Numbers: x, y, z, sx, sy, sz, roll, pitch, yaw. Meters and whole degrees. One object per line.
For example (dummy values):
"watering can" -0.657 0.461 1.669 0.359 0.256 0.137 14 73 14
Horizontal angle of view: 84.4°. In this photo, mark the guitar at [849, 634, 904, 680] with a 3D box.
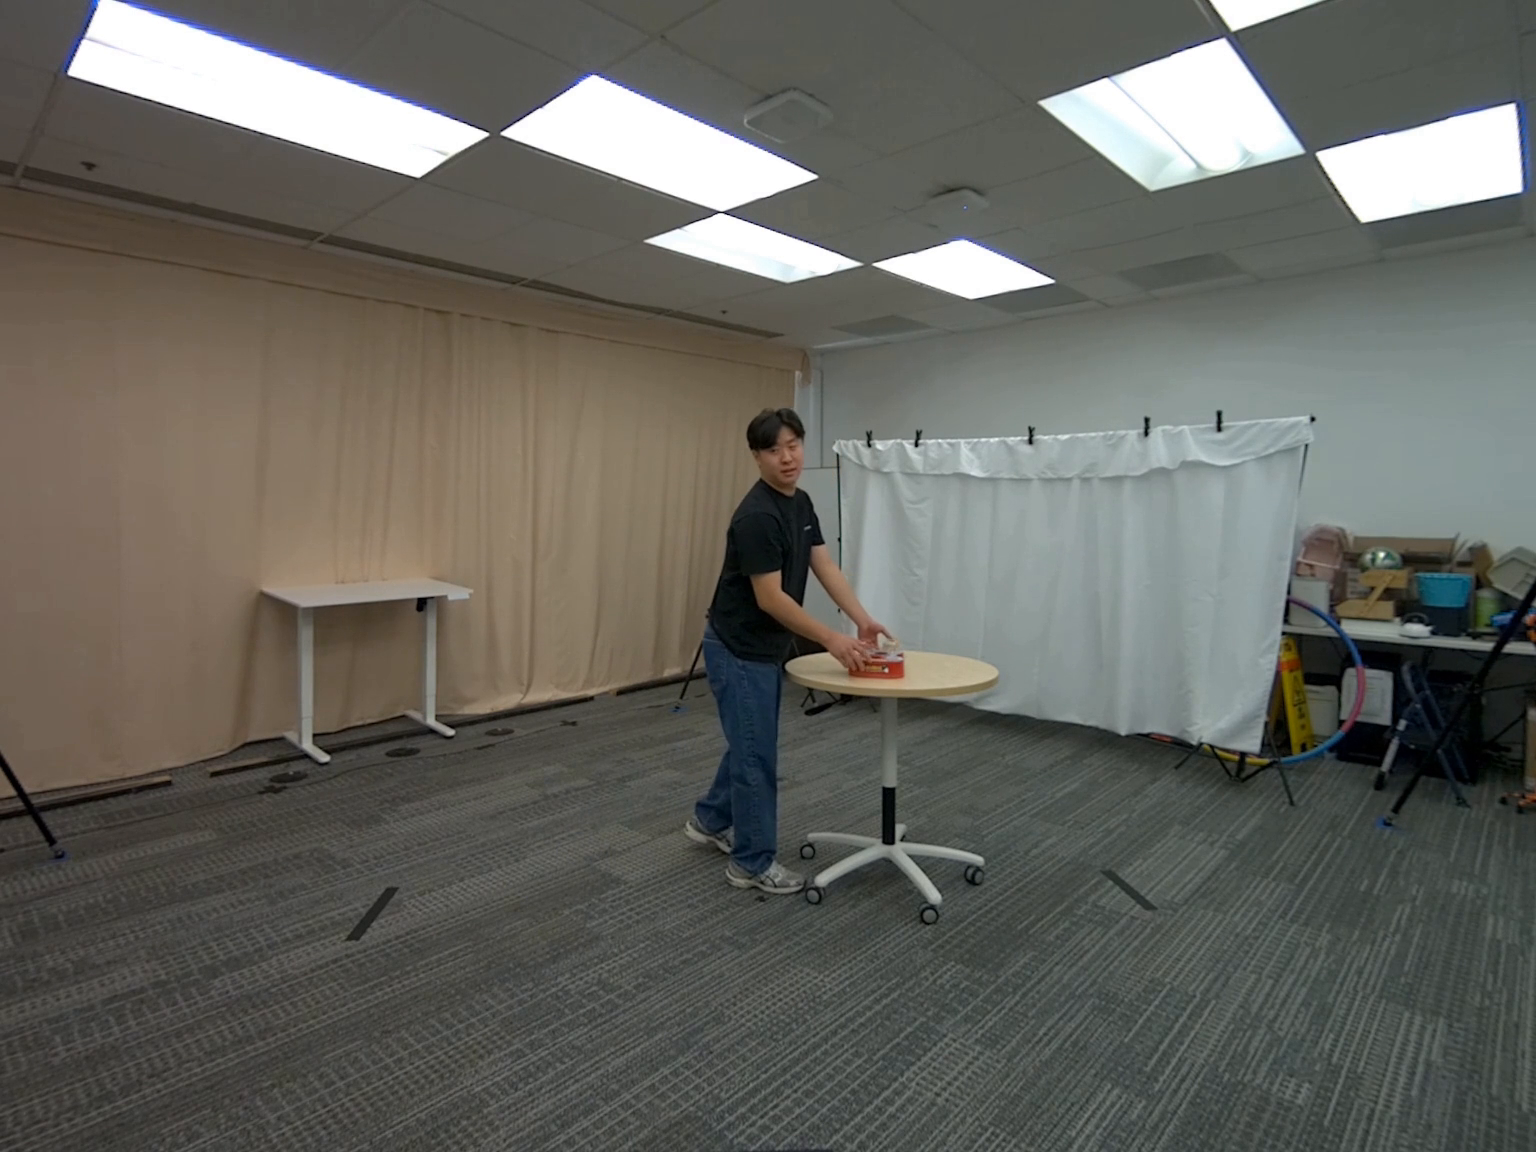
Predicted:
"guitar" 0.466 0.305 3.114 0.198 0.070 0.486 0 5 25
